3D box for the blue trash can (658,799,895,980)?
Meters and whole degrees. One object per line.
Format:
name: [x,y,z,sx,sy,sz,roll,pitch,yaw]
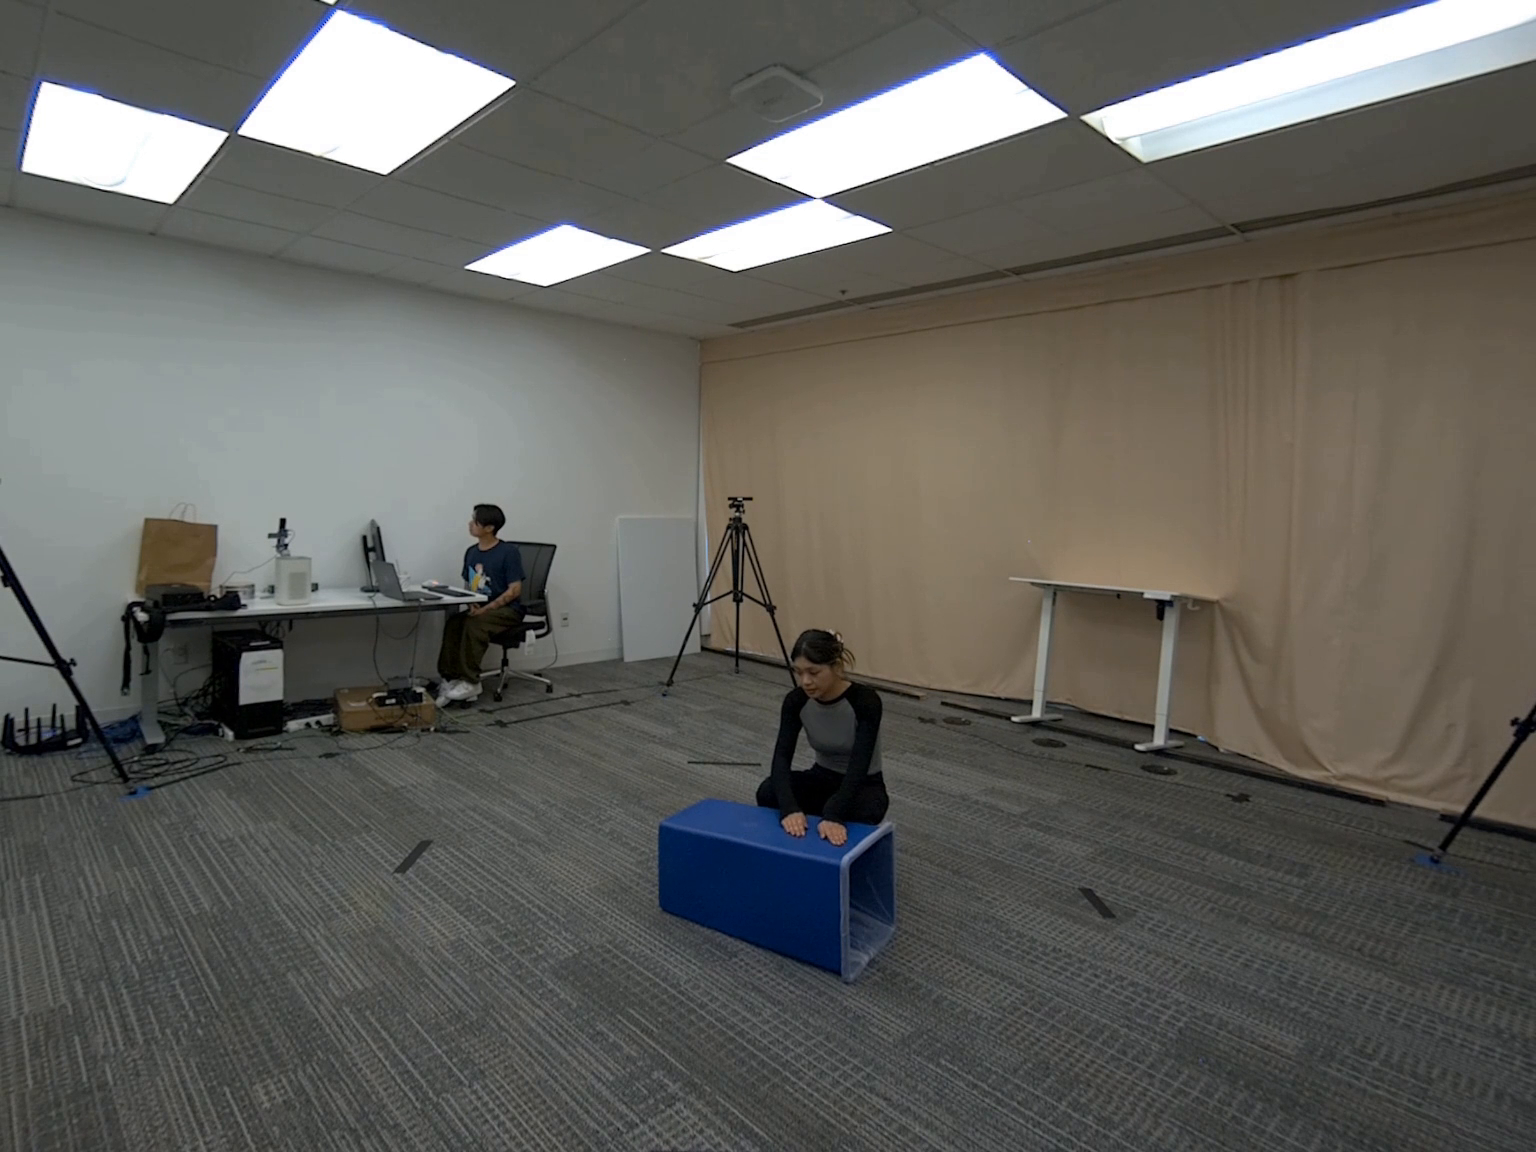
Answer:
blue trash can: [0.009,0.975,2.756,0.729,0.377,0.367,2,5,32]
